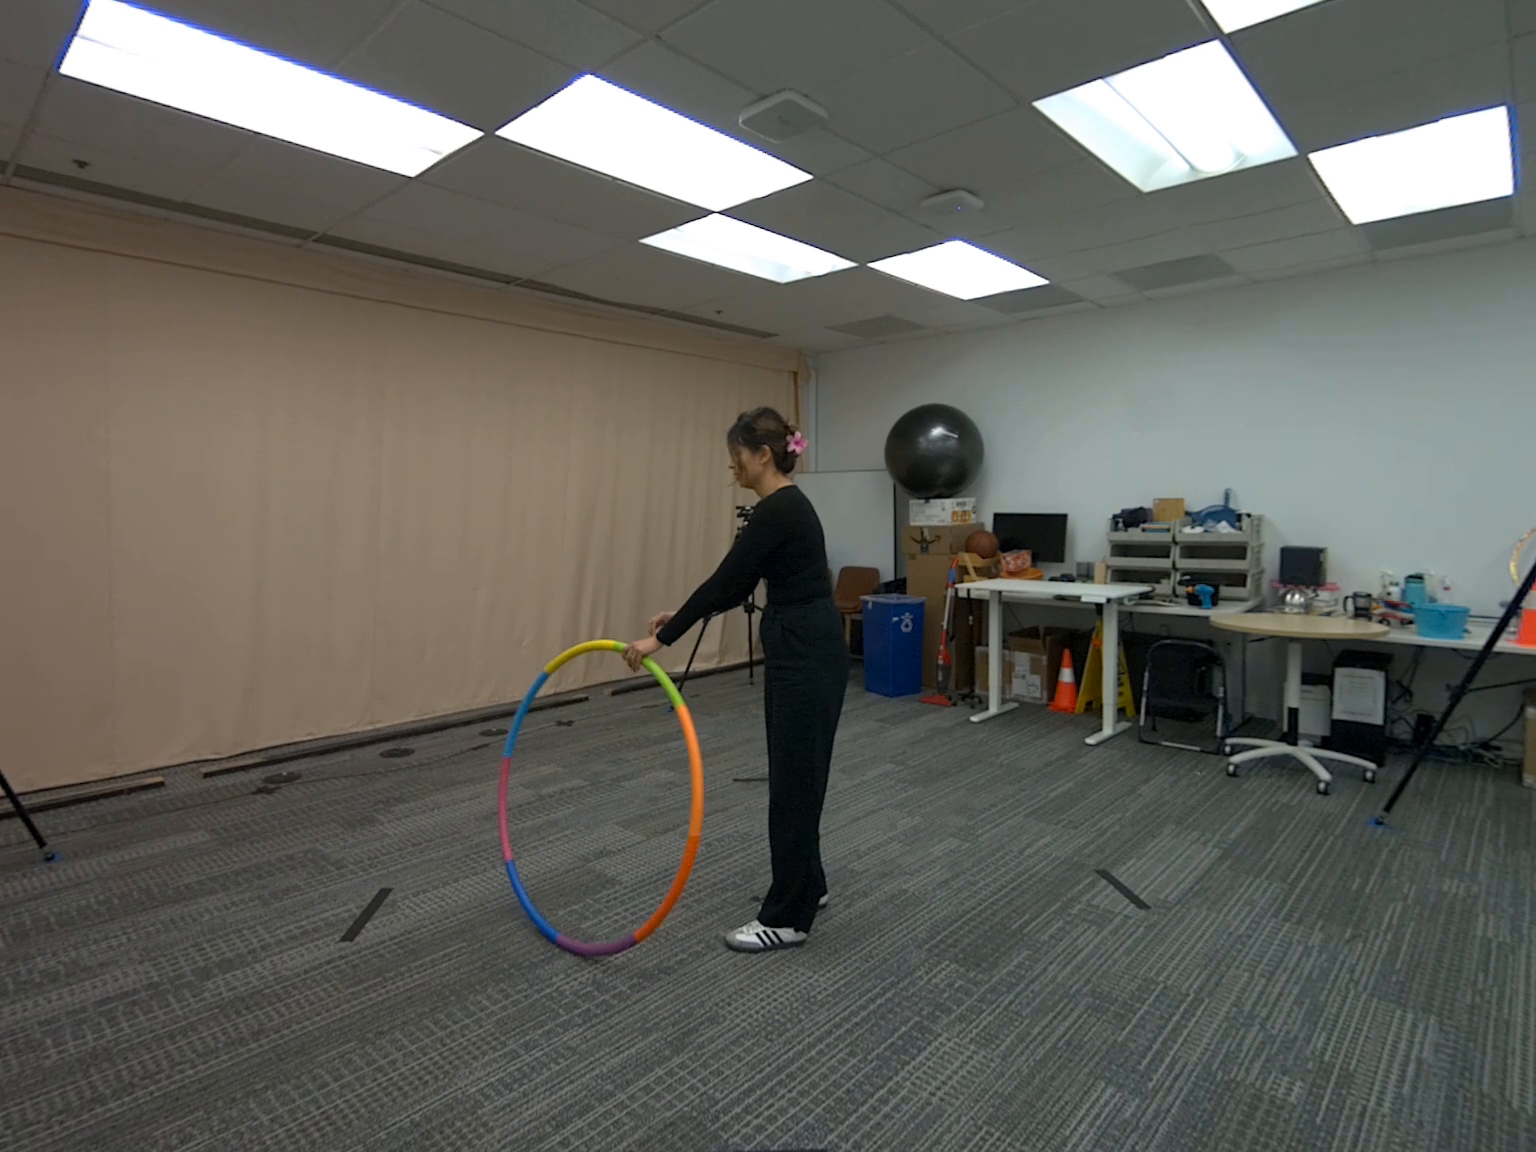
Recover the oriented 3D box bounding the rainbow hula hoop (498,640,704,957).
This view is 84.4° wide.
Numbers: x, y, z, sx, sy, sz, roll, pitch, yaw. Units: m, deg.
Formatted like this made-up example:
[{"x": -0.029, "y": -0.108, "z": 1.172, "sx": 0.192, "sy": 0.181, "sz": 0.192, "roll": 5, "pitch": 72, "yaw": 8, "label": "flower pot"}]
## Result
[{"x": -0.573, "y": 0.697, "z": 2.724, "sx": 1.011, "sy": 0.982, "sz": 0.034, "roll": 3, "pitch": -10, "yaw": 41, "label": "rainbow hula hoop"}]
